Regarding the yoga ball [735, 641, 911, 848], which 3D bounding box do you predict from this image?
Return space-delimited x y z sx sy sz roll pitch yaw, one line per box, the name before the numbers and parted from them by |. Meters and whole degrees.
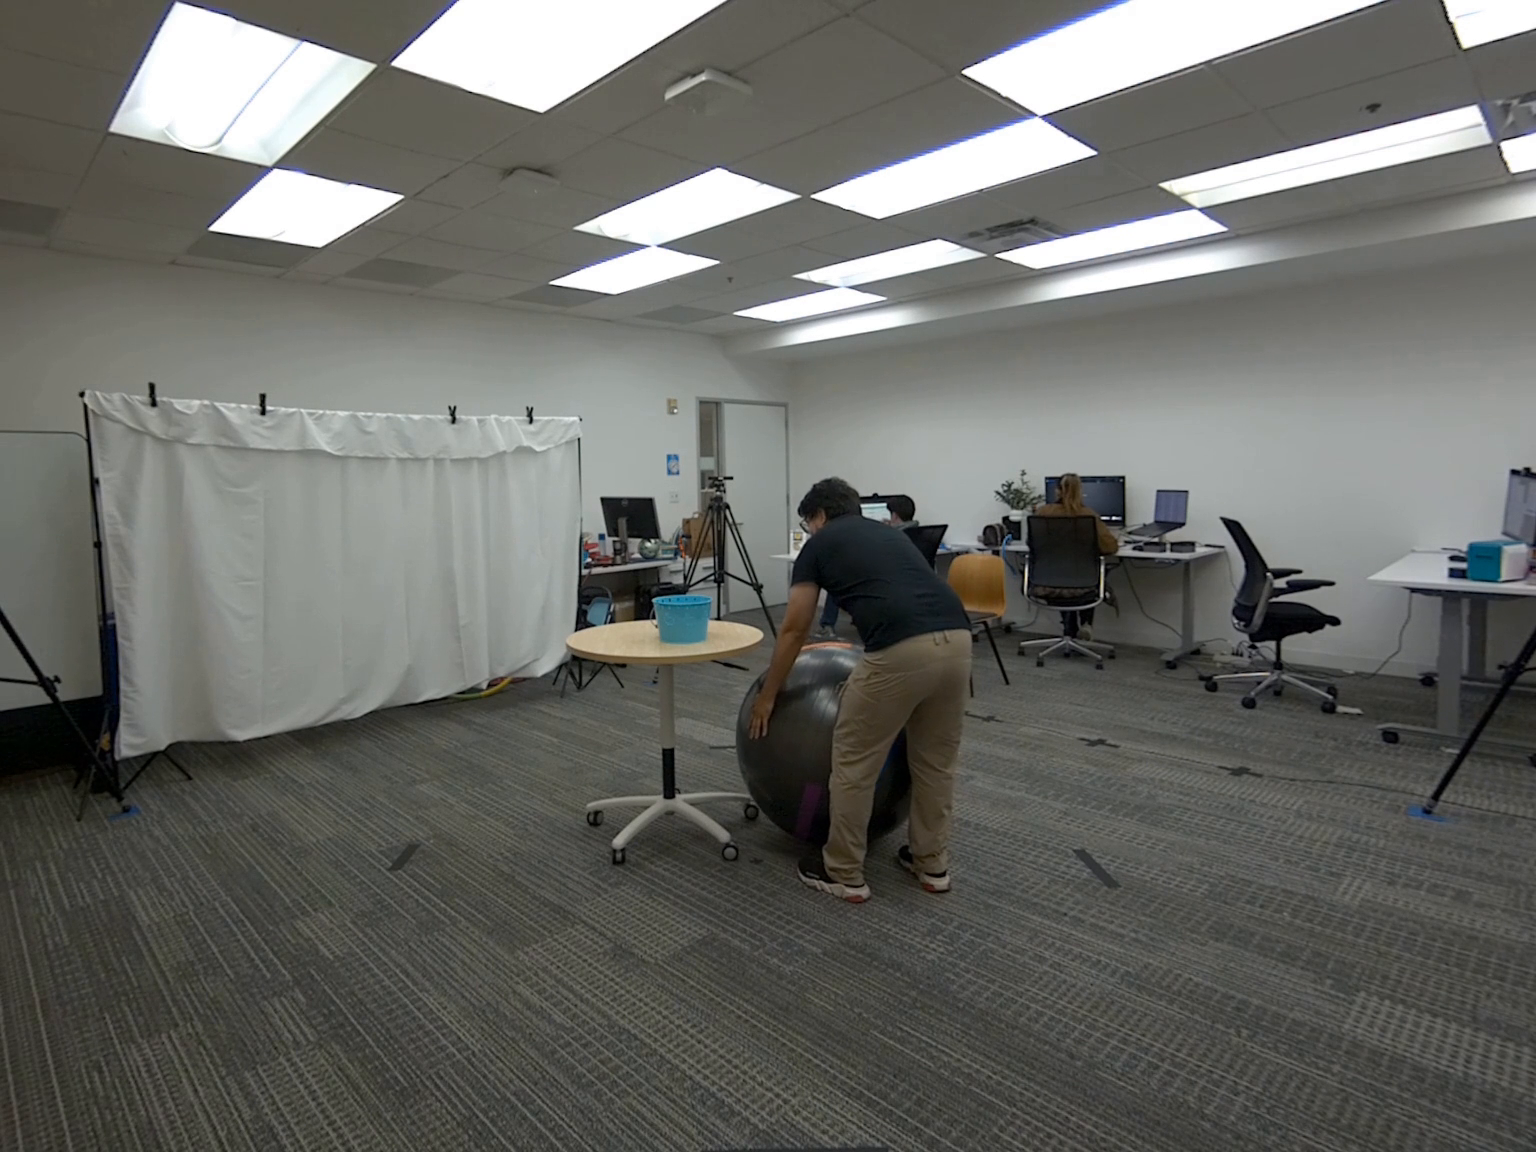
yoga ball | 0.262 0.642 3.280 0.757 0.755 0.762 -1 5 -2
